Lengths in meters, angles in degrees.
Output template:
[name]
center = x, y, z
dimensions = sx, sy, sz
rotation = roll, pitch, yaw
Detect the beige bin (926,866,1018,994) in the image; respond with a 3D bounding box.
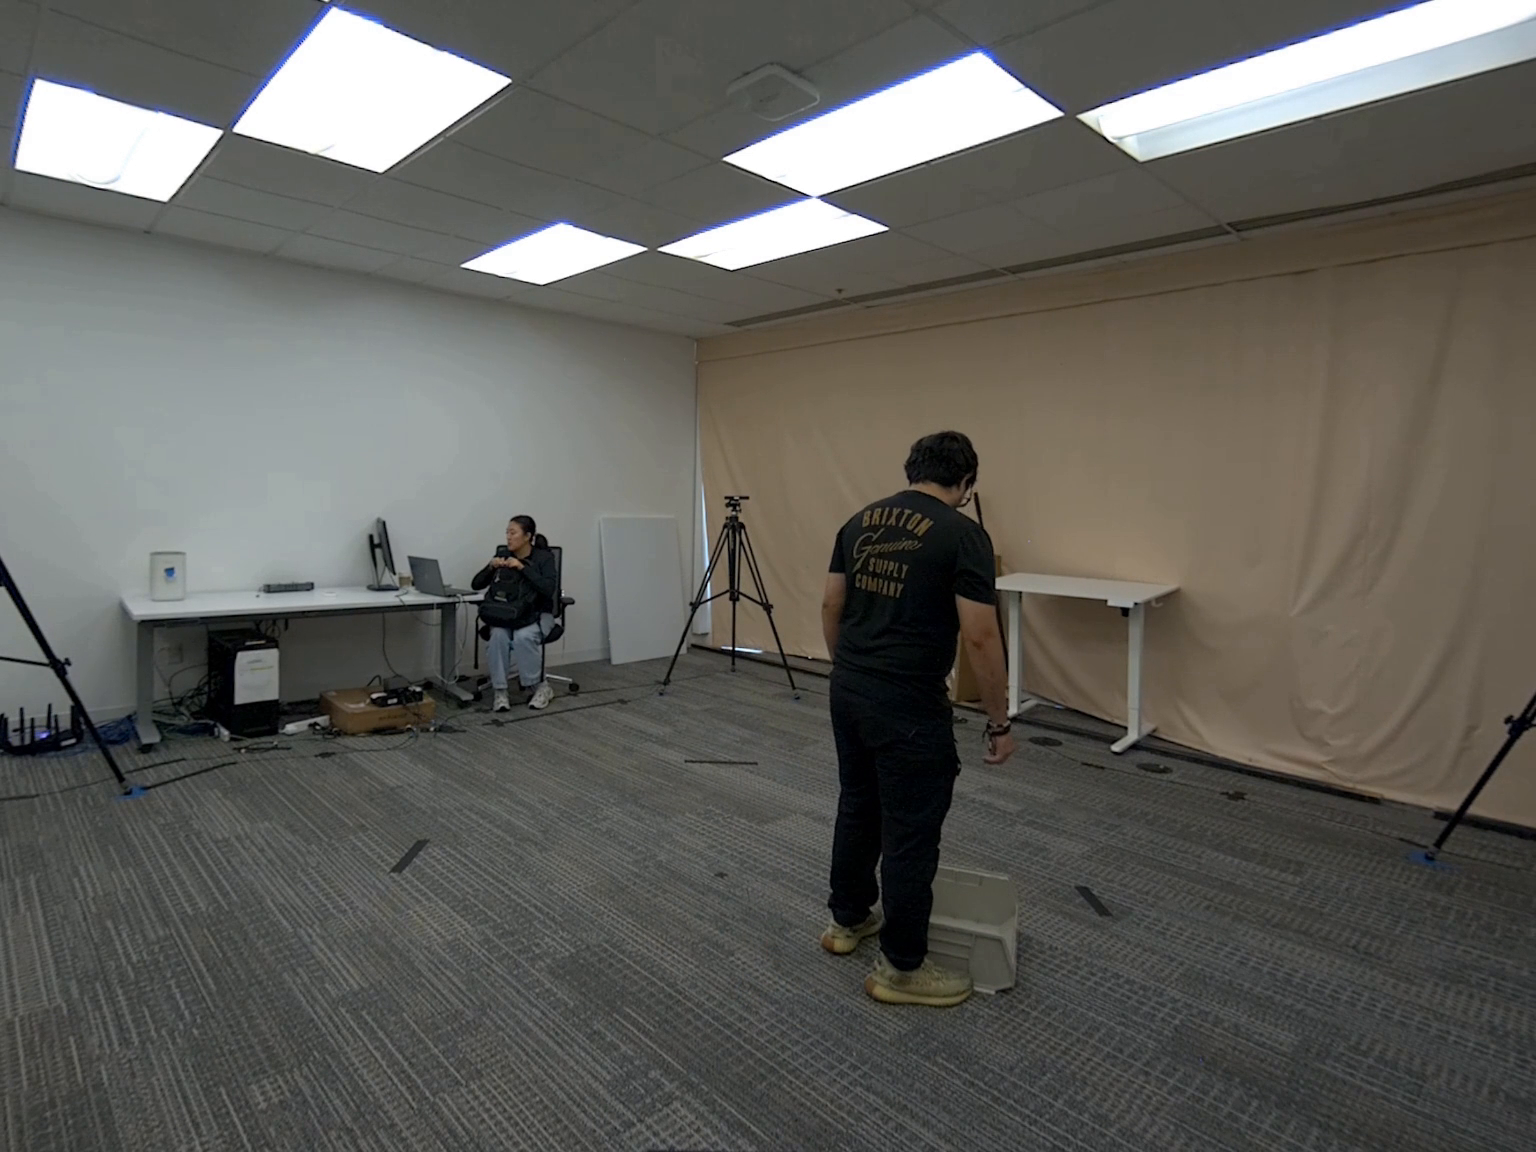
[beige bin]
center = 0.573, 1.075, 2.625
dimensions = 0.383, 0.188, 0.417
rotation = 2, 5, 19
